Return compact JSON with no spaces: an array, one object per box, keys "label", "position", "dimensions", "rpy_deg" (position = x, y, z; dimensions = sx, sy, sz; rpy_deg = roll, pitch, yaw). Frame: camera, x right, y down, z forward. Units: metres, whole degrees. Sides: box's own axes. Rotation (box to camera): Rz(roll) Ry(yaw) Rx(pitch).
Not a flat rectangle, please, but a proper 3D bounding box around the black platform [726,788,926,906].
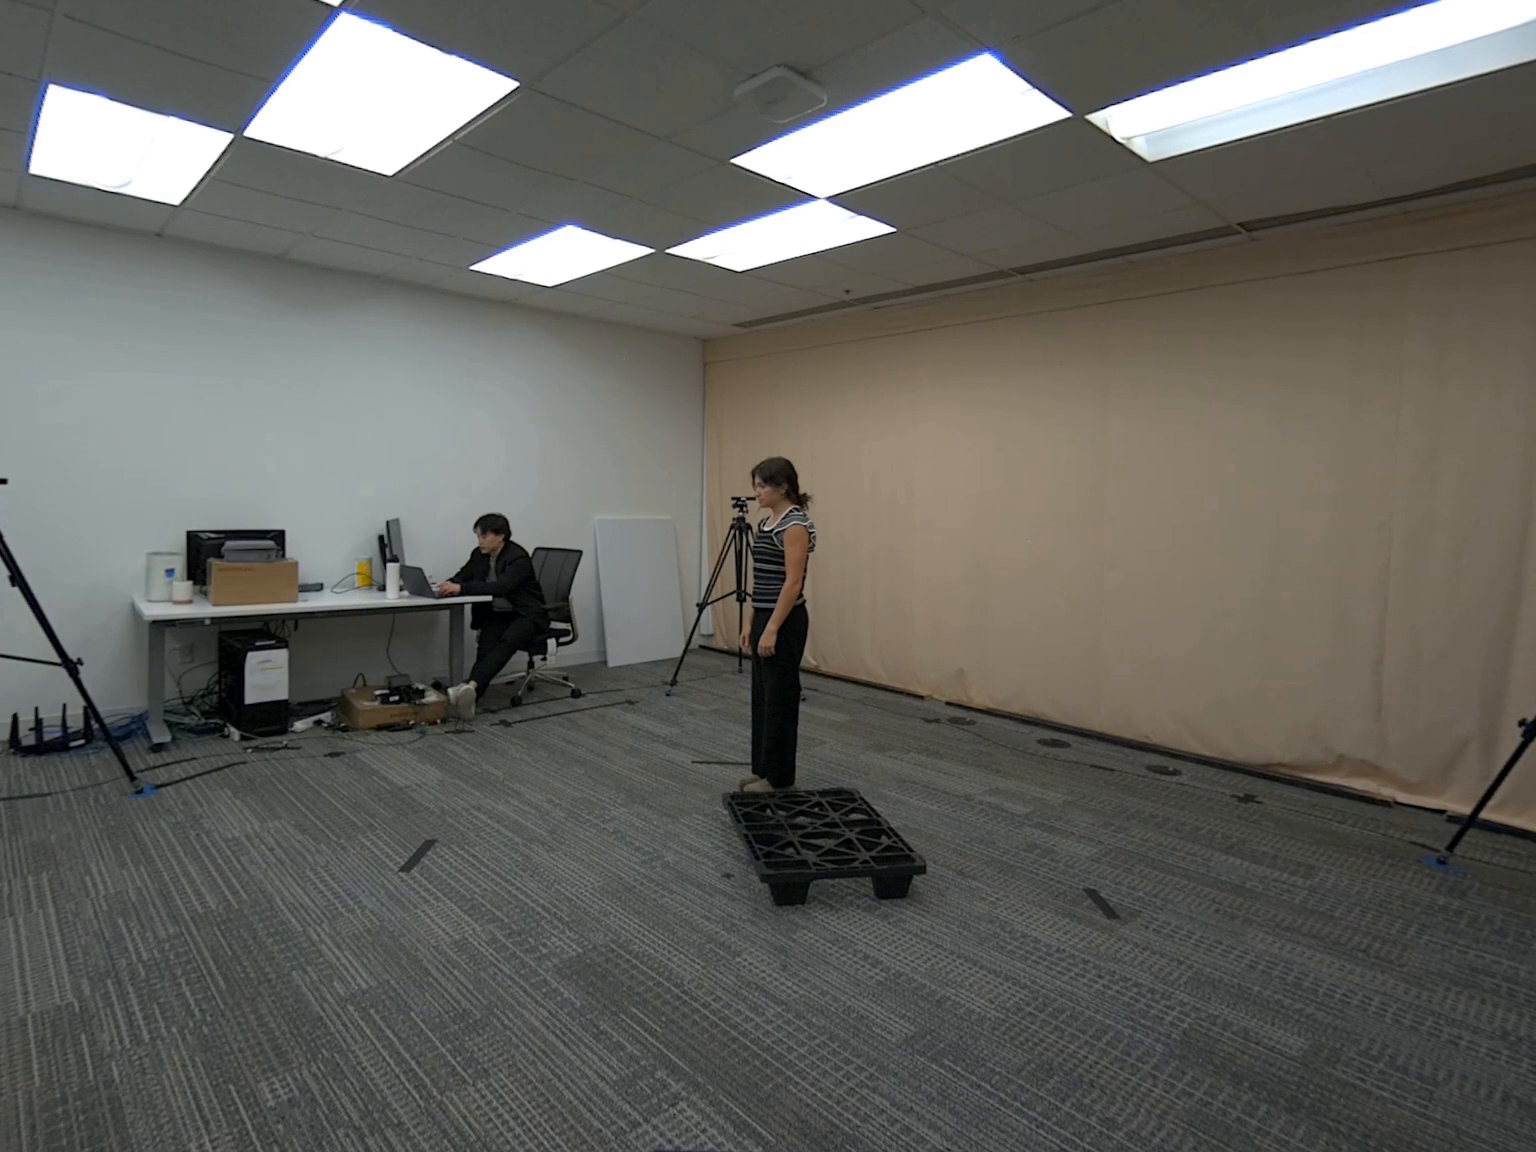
[{"label":"black platform","position":[0.173,1.031,3.275],"dimensions":[0.599,0.143,0.815],"rpy_deg":[1,5,-12]}]
